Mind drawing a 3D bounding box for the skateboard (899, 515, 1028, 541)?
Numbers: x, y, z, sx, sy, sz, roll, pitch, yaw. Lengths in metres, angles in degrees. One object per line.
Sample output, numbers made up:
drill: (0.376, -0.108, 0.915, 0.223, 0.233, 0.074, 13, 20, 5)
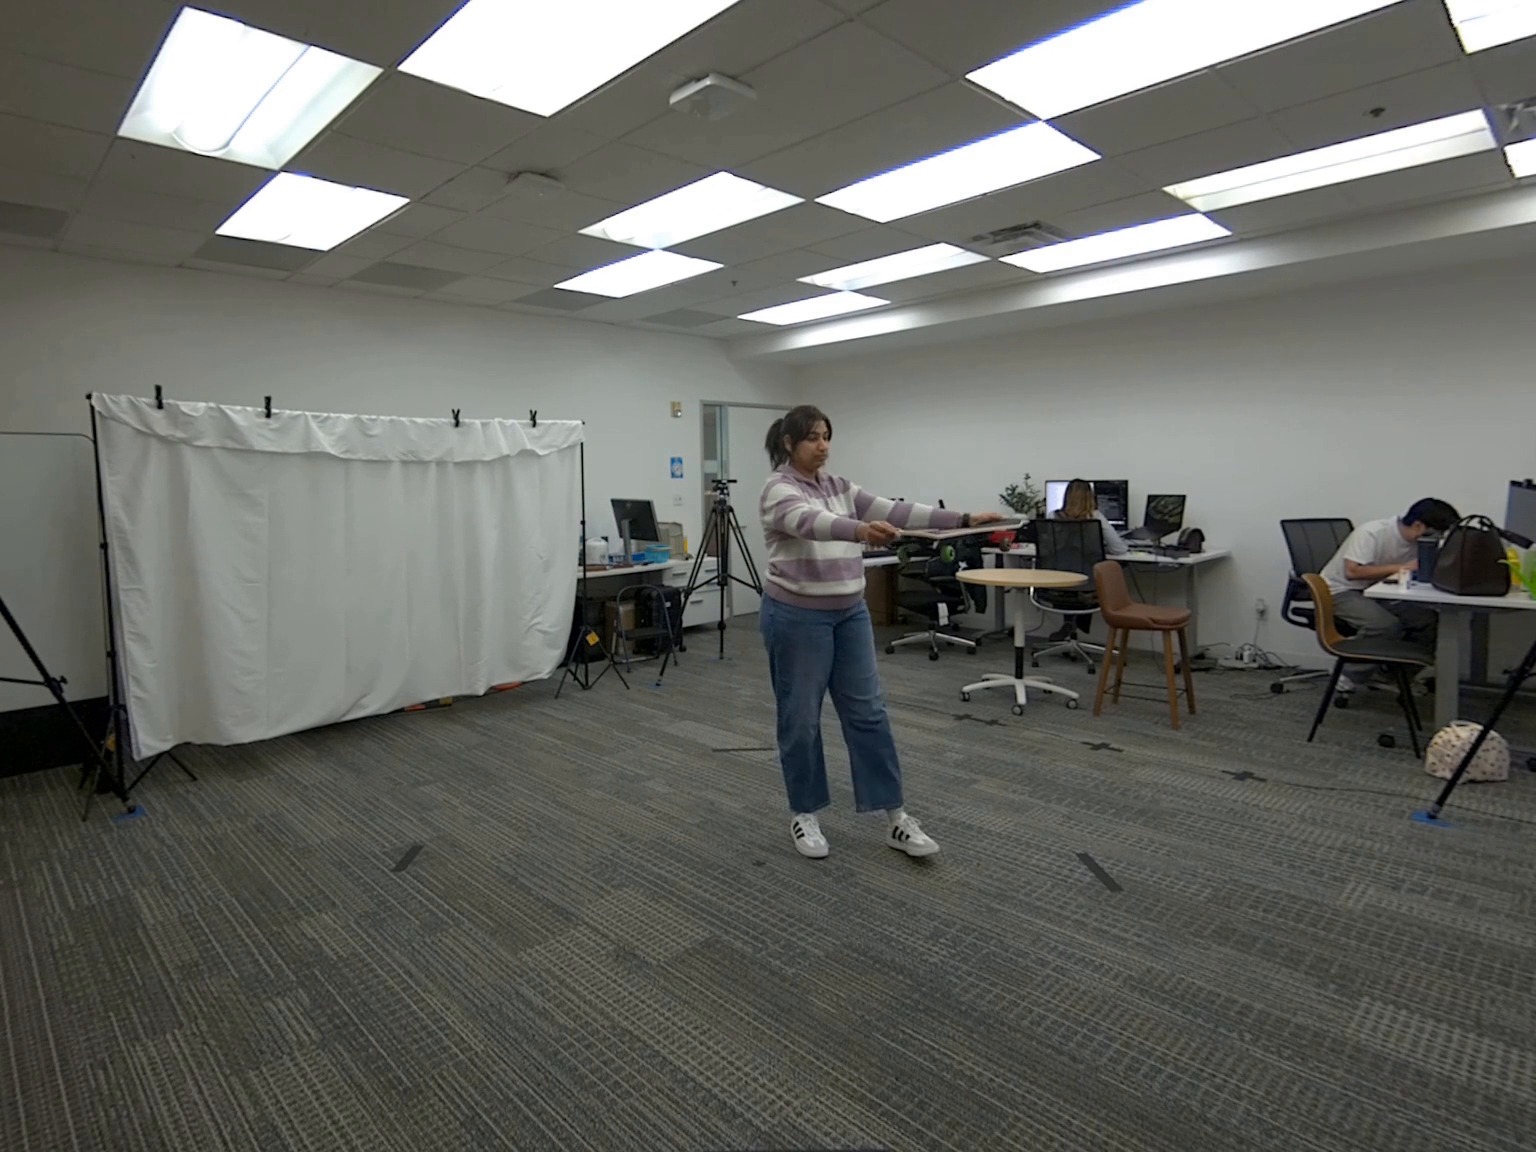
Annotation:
skateboard: (0.624, -0.120, 2.855, 0.199, 0.110, 0.765, 0, 6, 45)
